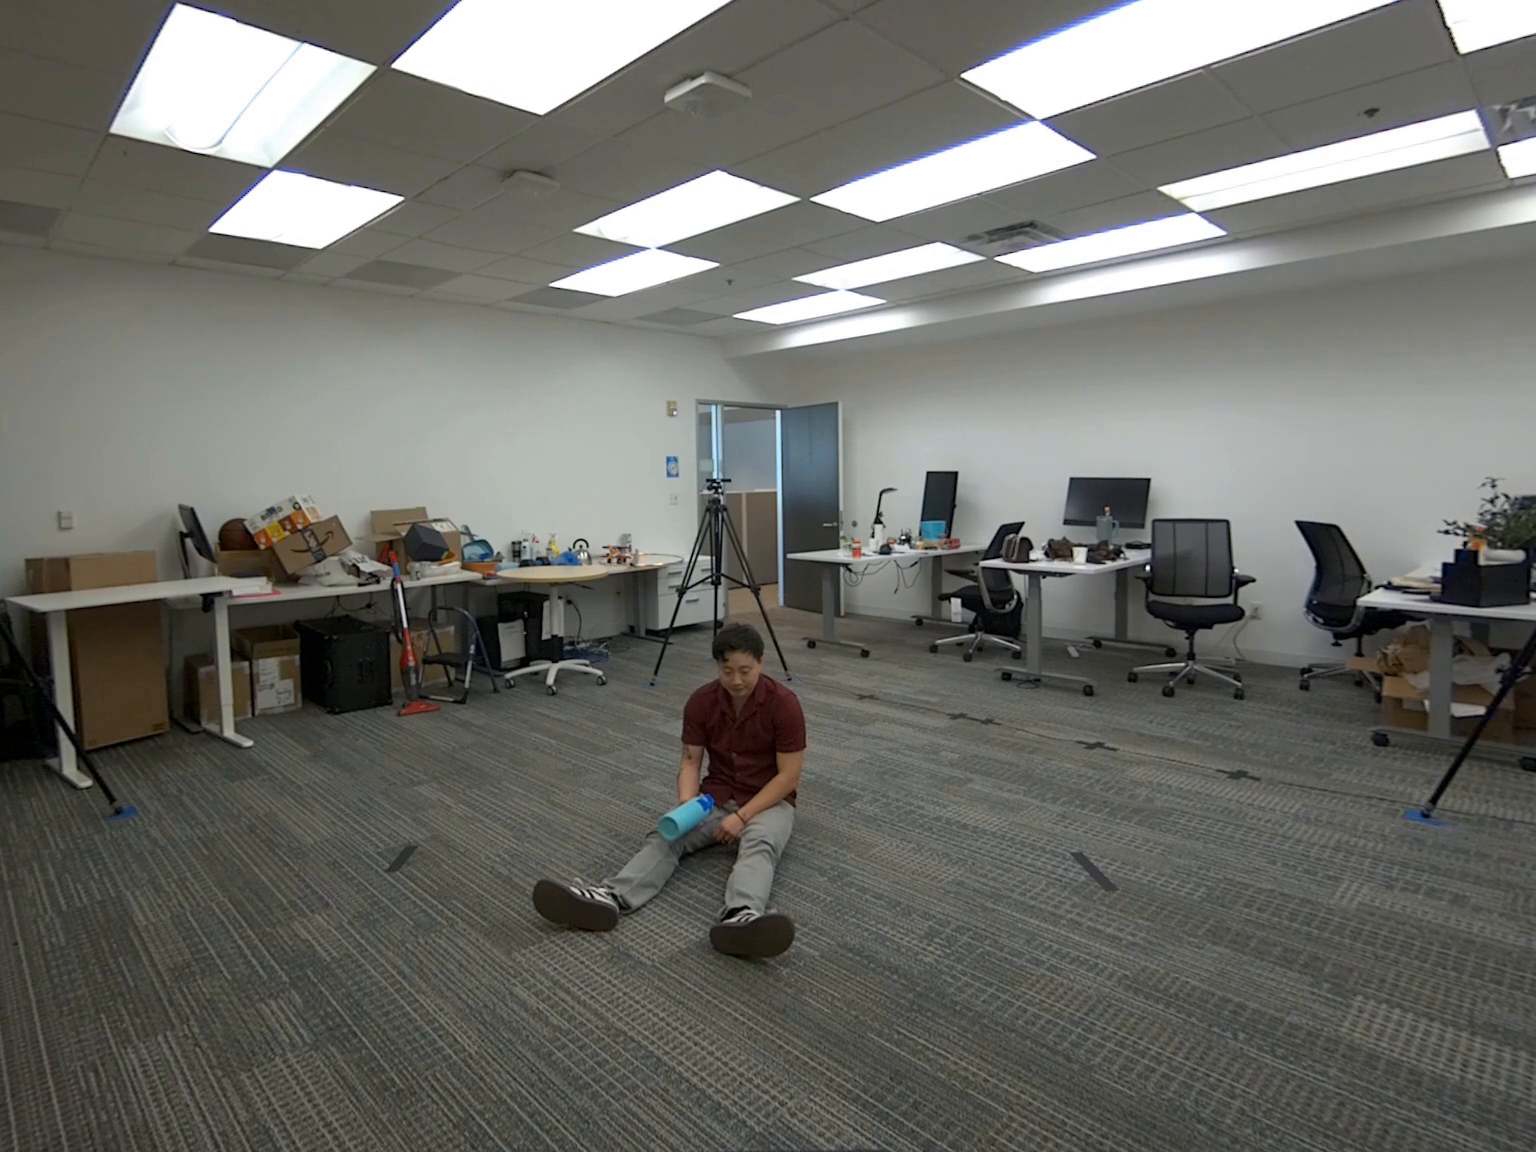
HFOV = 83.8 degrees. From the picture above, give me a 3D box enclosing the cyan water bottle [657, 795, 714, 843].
[{"bbox_3d":[-0.281,0.857,3.046,0.094,0.092,0.278,1,5,24],"label":"cyan water bottle"}]
